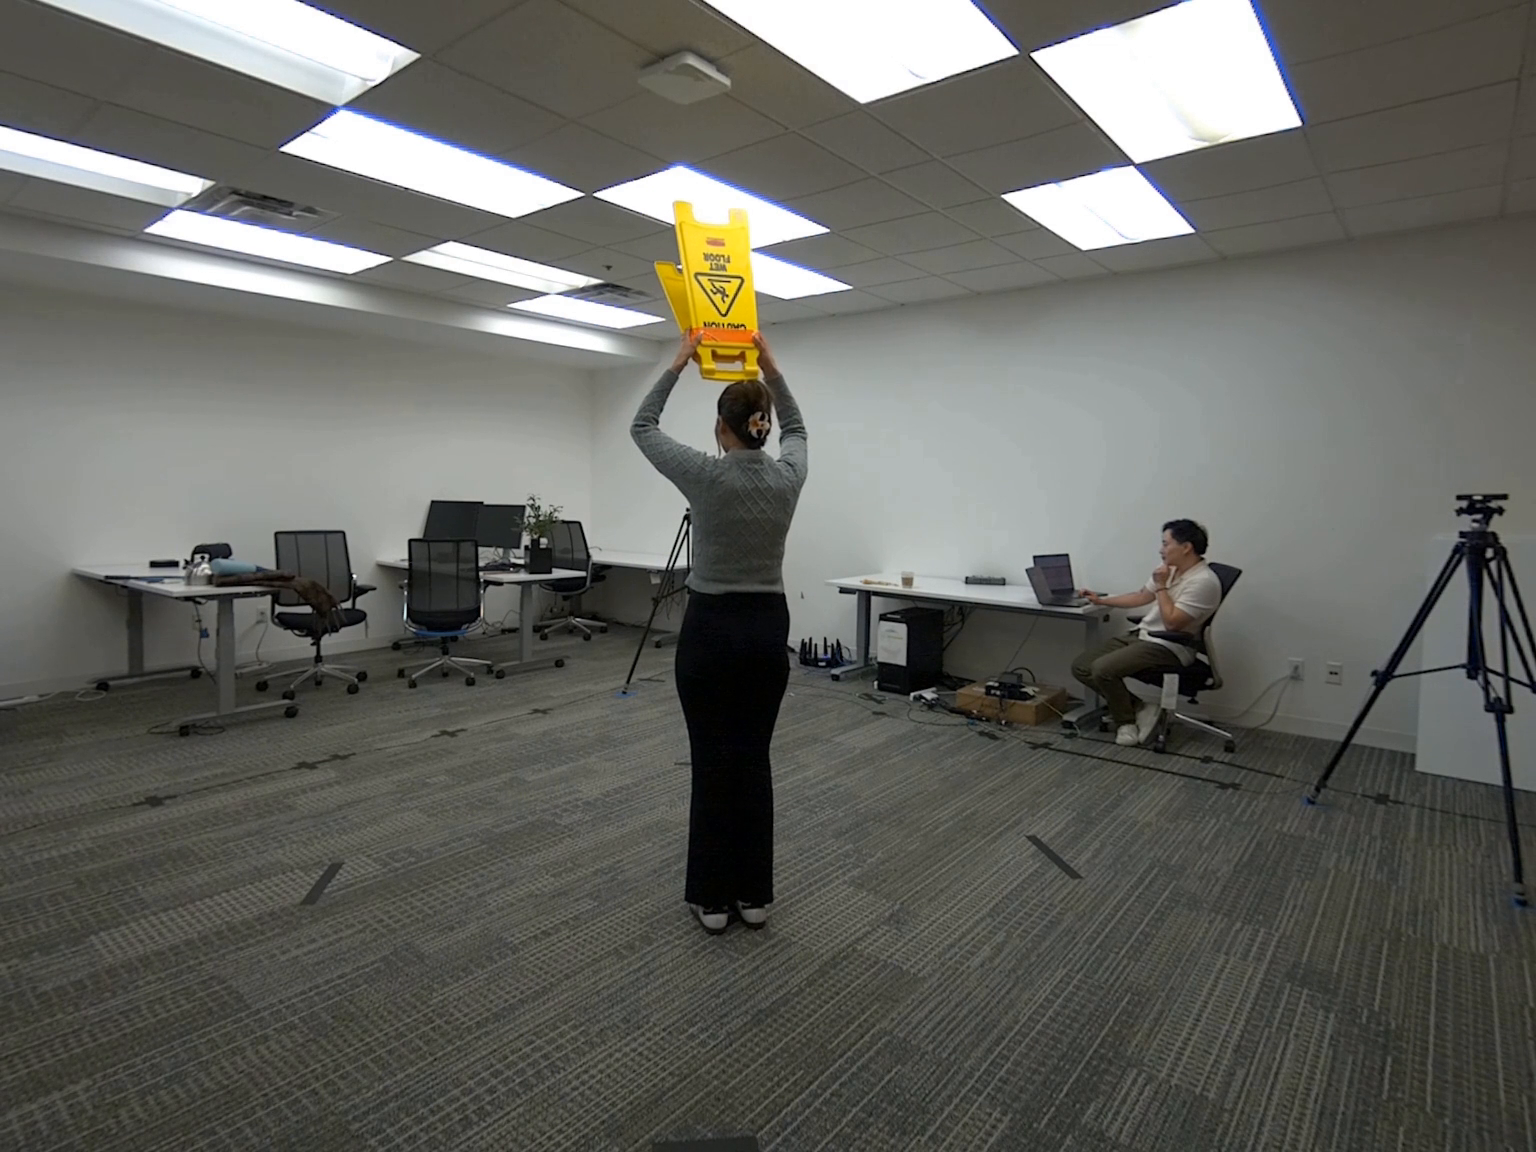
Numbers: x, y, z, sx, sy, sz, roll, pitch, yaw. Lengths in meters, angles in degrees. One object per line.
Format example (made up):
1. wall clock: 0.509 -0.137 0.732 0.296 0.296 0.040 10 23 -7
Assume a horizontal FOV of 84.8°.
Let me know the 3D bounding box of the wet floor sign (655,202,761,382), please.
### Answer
1. wet floor sign: -0.195 -0.937 2.916 0.277 0.664 0.287 -2 -28 -19
